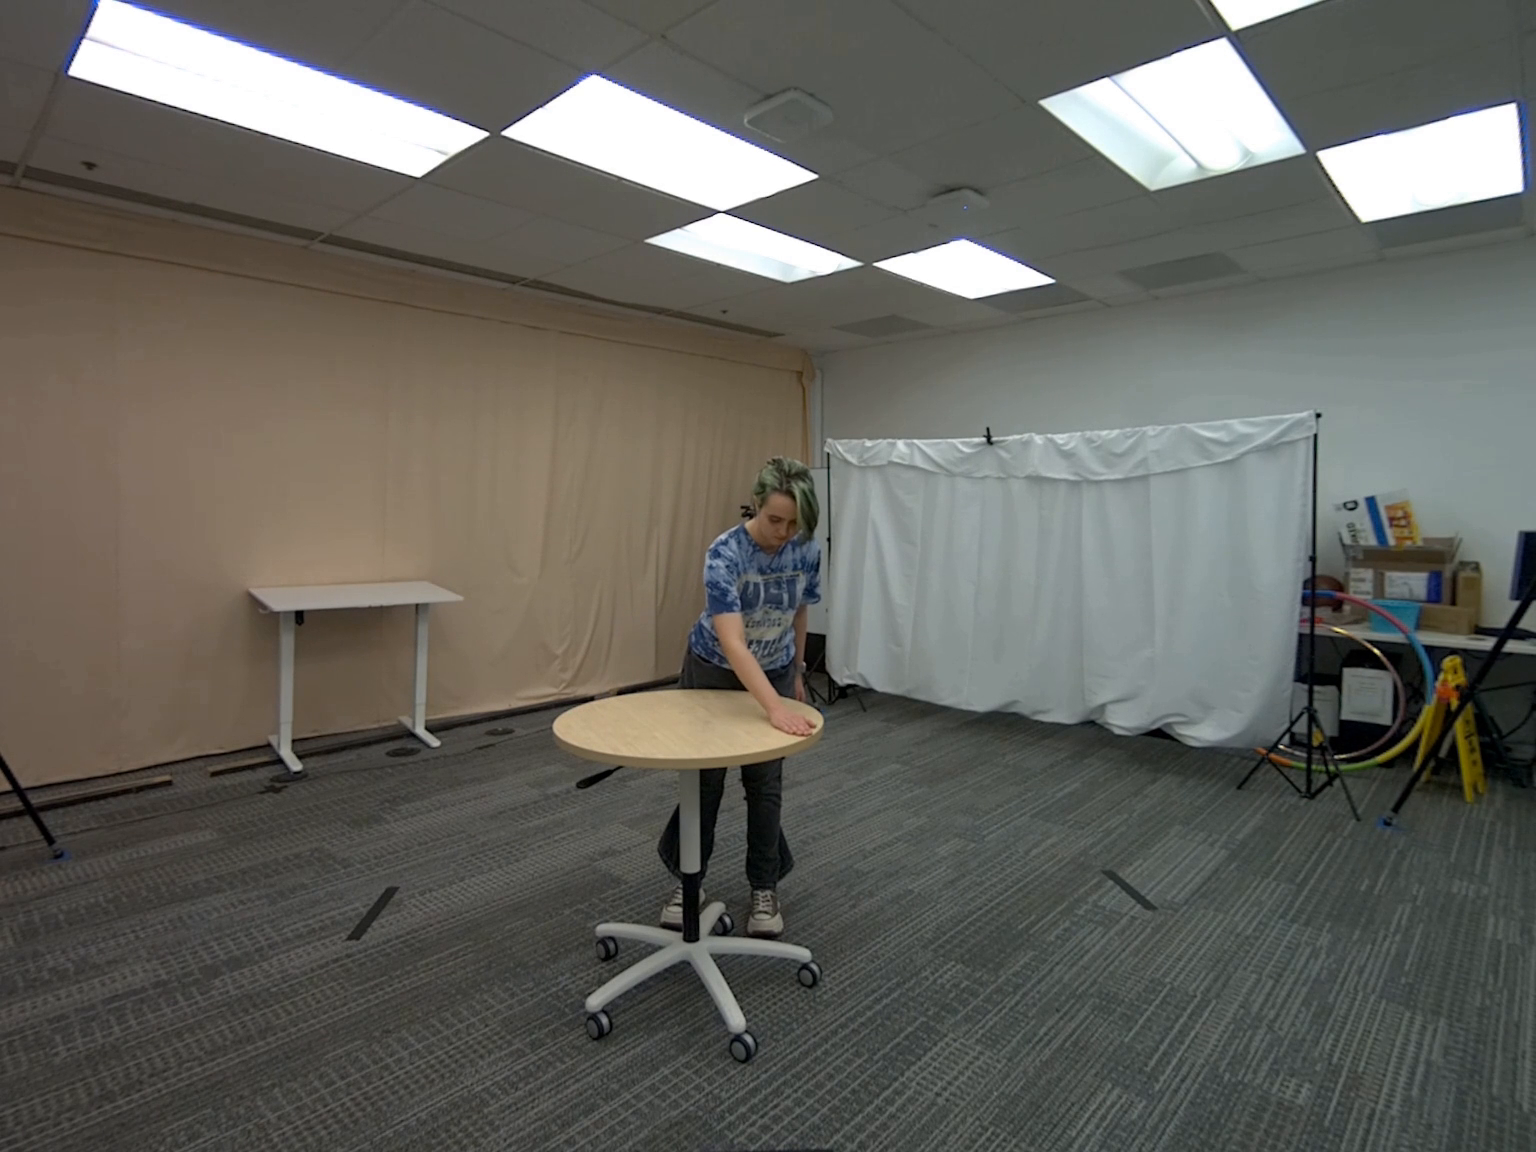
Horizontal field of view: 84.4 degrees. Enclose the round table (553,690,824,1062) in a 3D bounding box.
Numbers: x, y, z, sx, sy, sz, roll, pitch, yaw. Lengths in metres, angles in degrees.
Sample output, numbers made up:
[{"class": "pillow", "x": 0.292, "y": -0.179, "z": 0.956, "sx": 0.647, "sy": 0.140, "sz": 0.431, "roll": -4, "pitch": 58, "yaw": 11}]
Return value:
[{"class": "round table", "x": -0.231, "y": 0.796, "z": 2.434, "sx": 0.784, "sy": 0.785, "sz": 0.788, "roll": 0, "pitch": 4, "yaw": -2}]
